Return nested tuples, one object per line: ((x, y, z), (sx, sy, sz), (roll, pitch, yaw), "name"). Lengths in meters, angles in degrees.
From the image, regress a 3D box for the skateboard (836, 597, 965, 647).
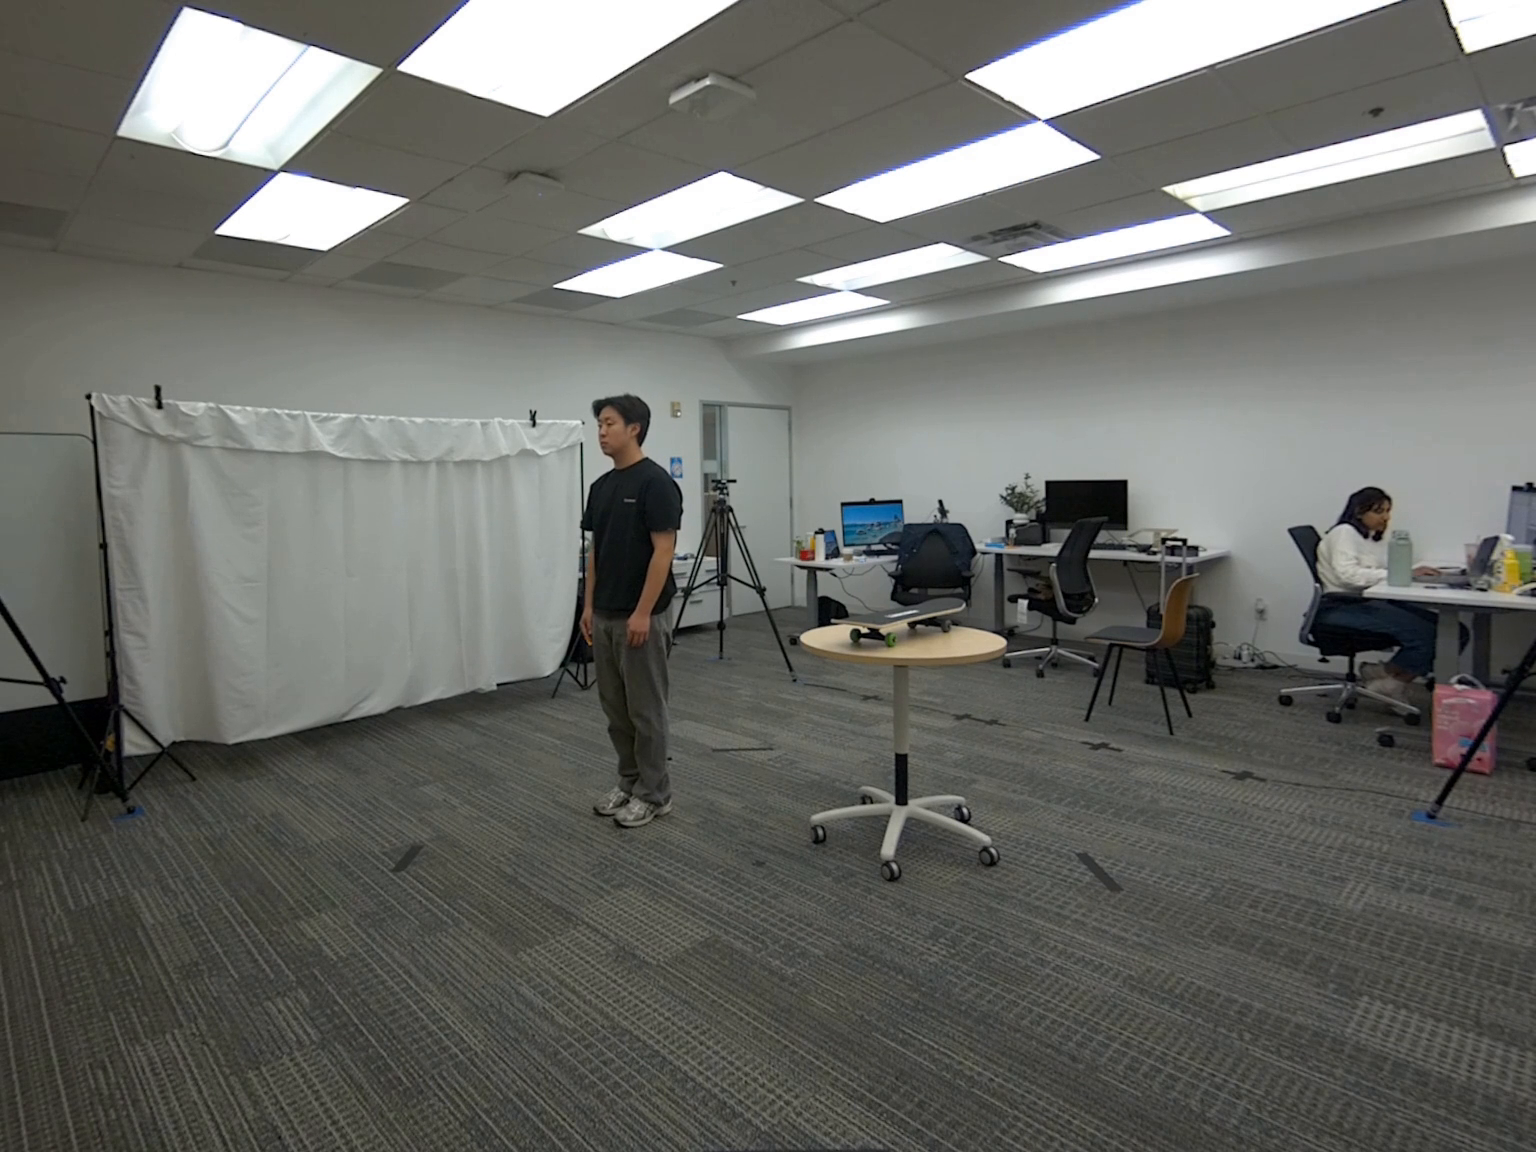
((0.515, 0.185, 3.272), (0.199, 0.110, 0.765), (5, 8, 41), "skateboard")
